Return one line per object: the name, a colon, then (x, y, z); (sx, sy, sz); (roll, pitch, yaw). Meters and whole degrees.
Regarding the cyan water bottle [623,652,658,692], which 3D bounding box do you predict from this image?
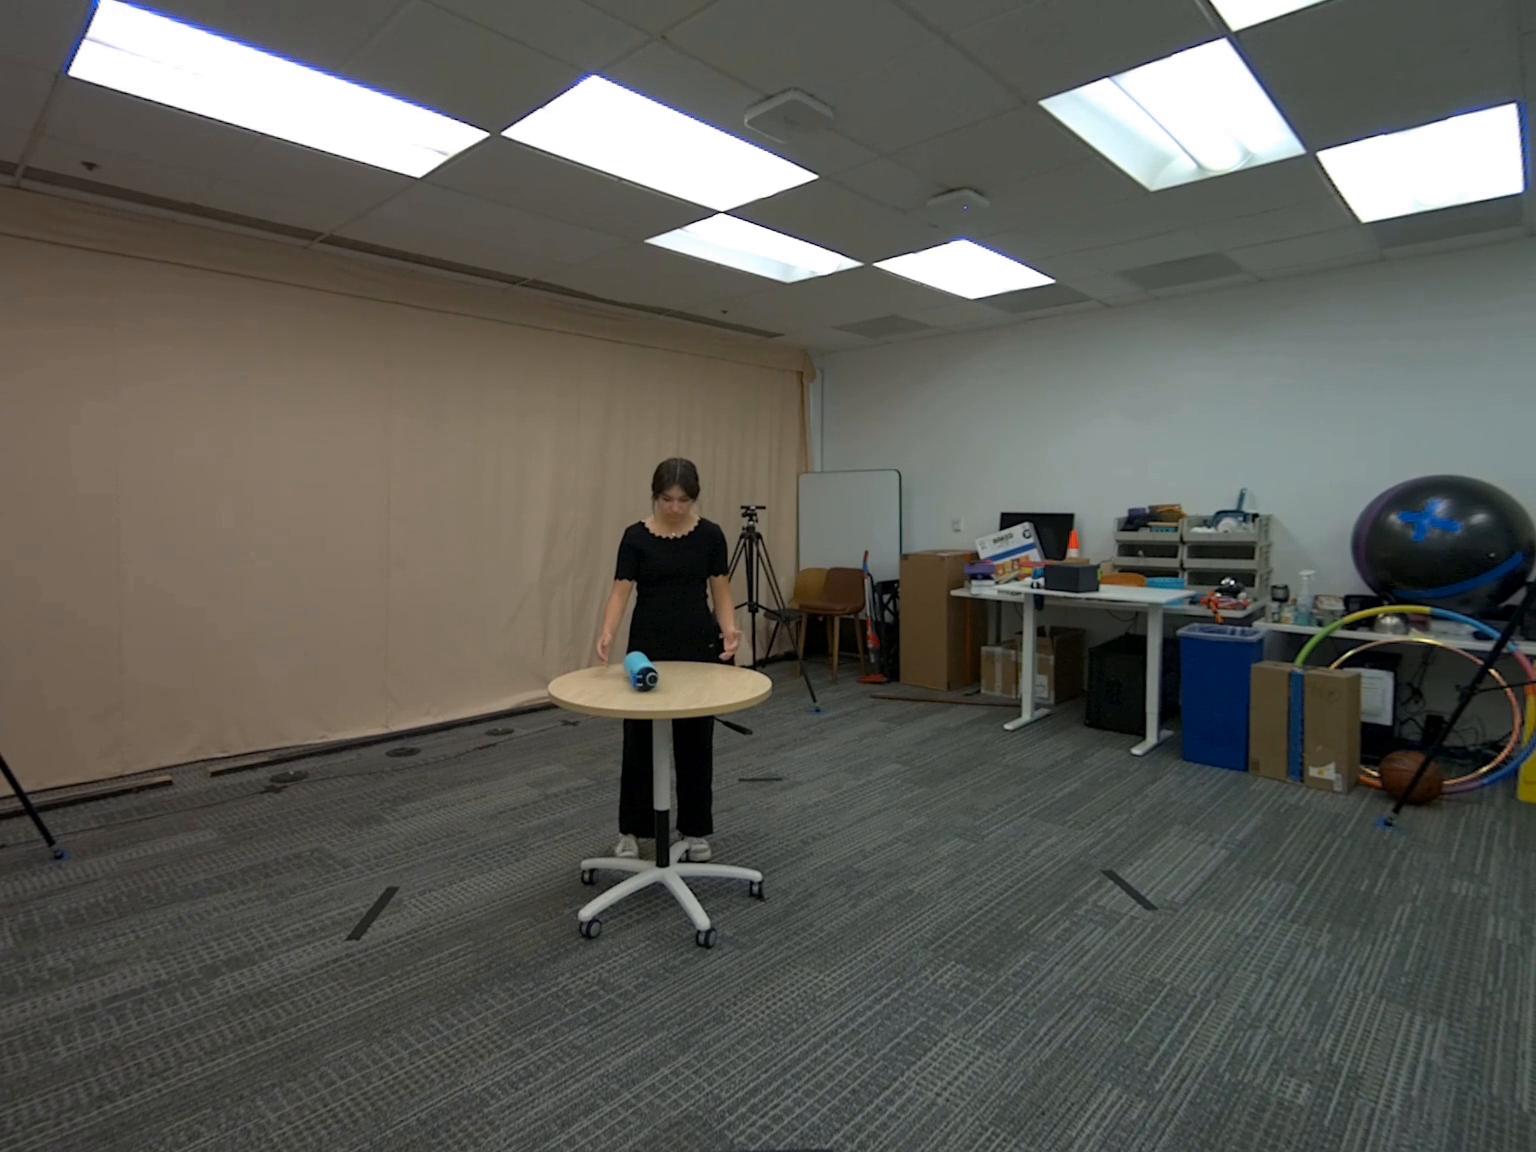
cyan water bottle: (-0.429, 0.328, 2.875); (0.091, 0.092, 0.288); (-1, 6, -15)
